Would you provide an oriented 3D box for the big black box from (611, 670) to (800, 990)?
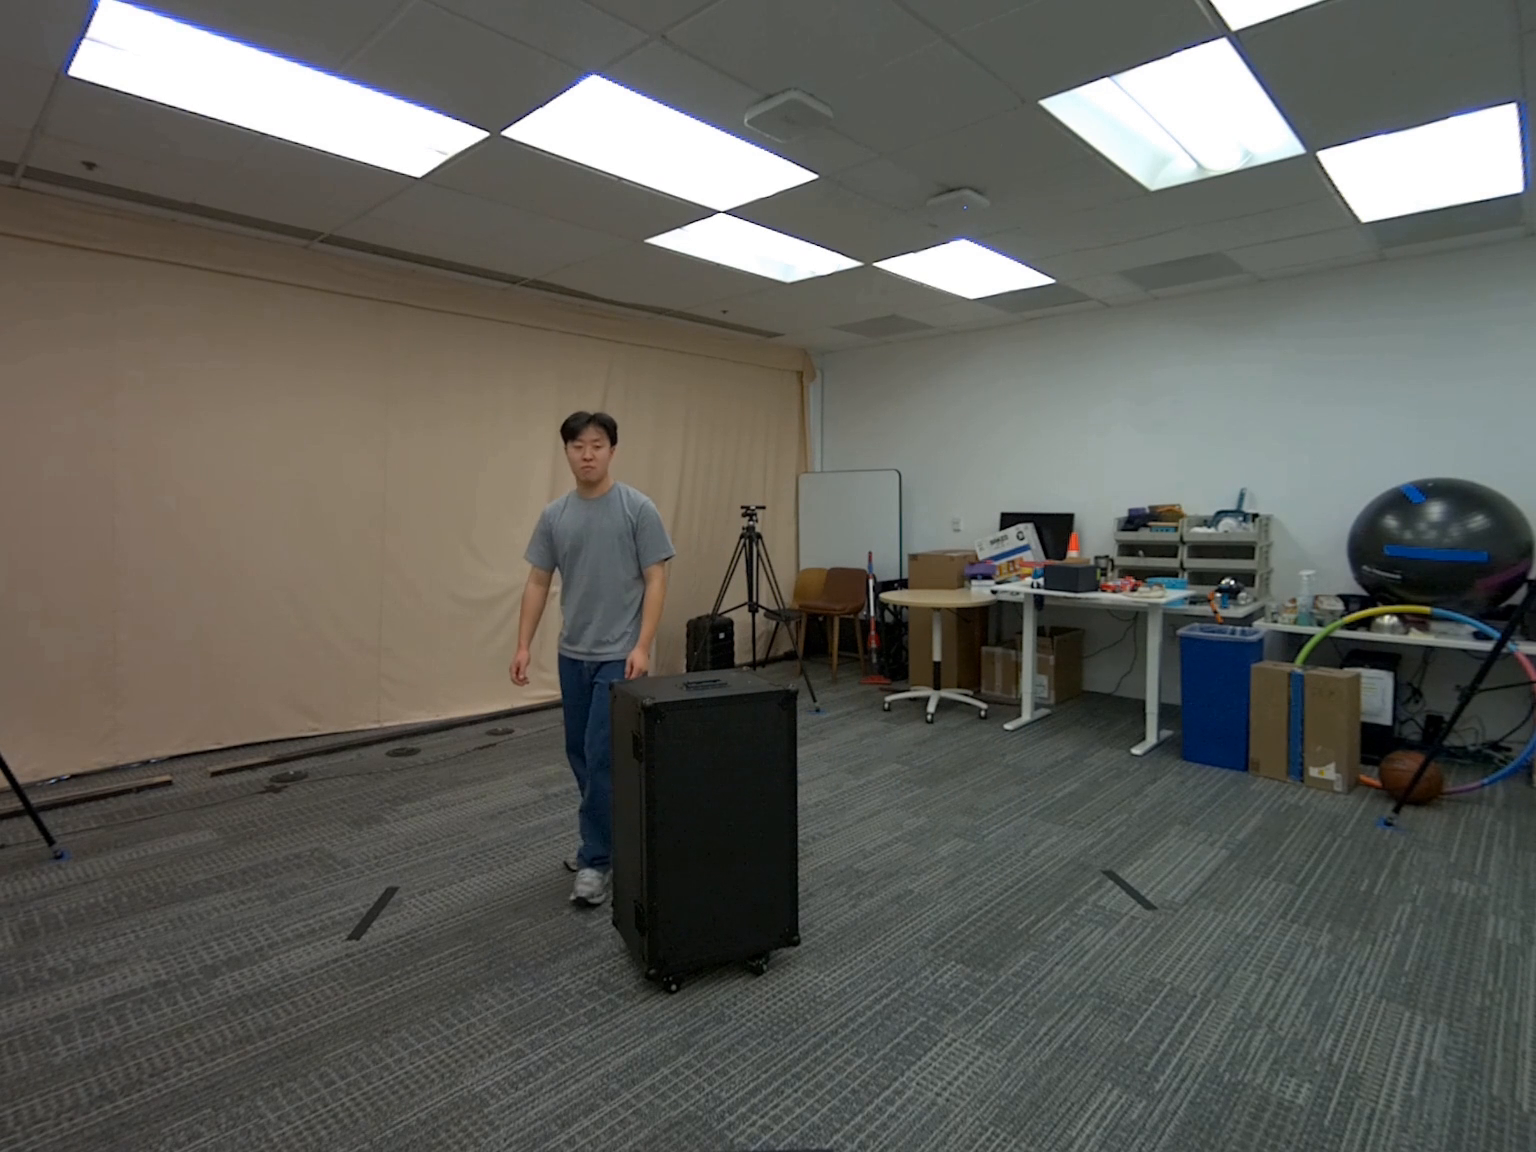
[{"bbox_3d":[-0.207,0.752,2.588,0.509,0.860,0.406,-2,2,-25],"label":"big black box"}]
